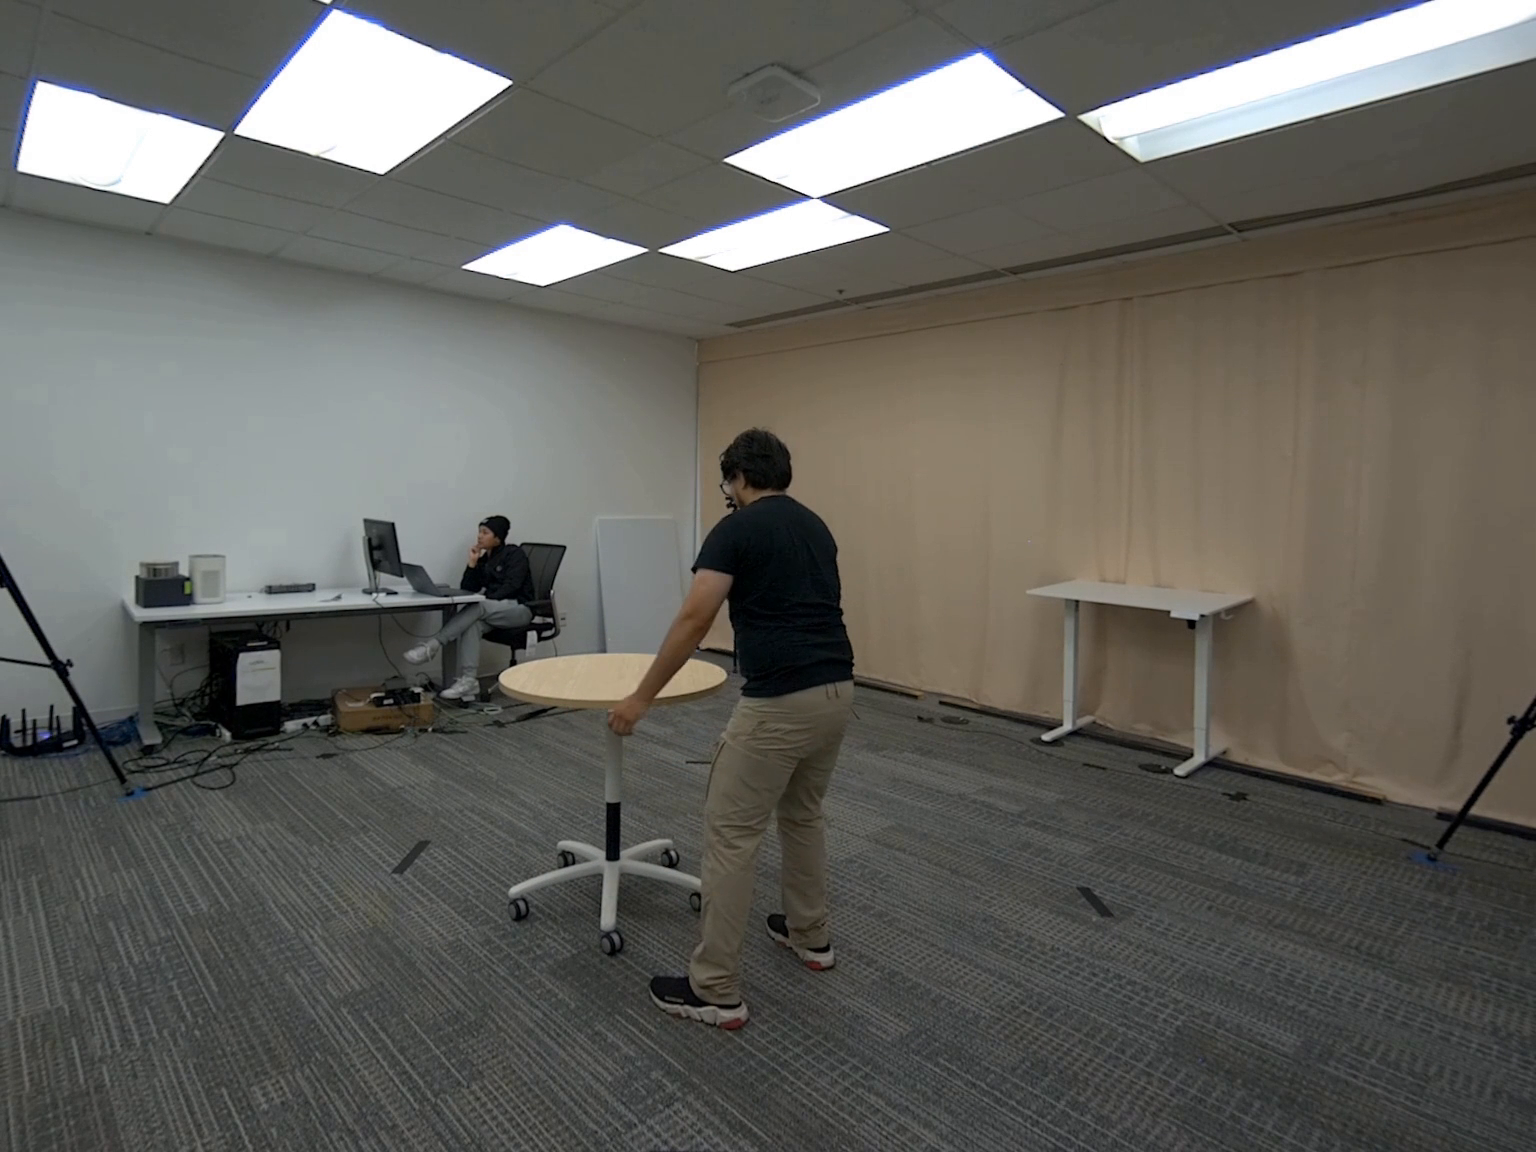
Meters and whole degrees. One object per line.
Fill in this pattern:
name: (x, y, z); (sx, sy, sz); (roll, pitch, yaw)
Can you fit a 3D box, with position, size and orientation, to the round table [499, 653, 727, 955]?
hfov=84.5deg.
round table: (-0.519, 0.723, 2.886); (0.784, 0.785, 0.787); (1, 4, -1)
